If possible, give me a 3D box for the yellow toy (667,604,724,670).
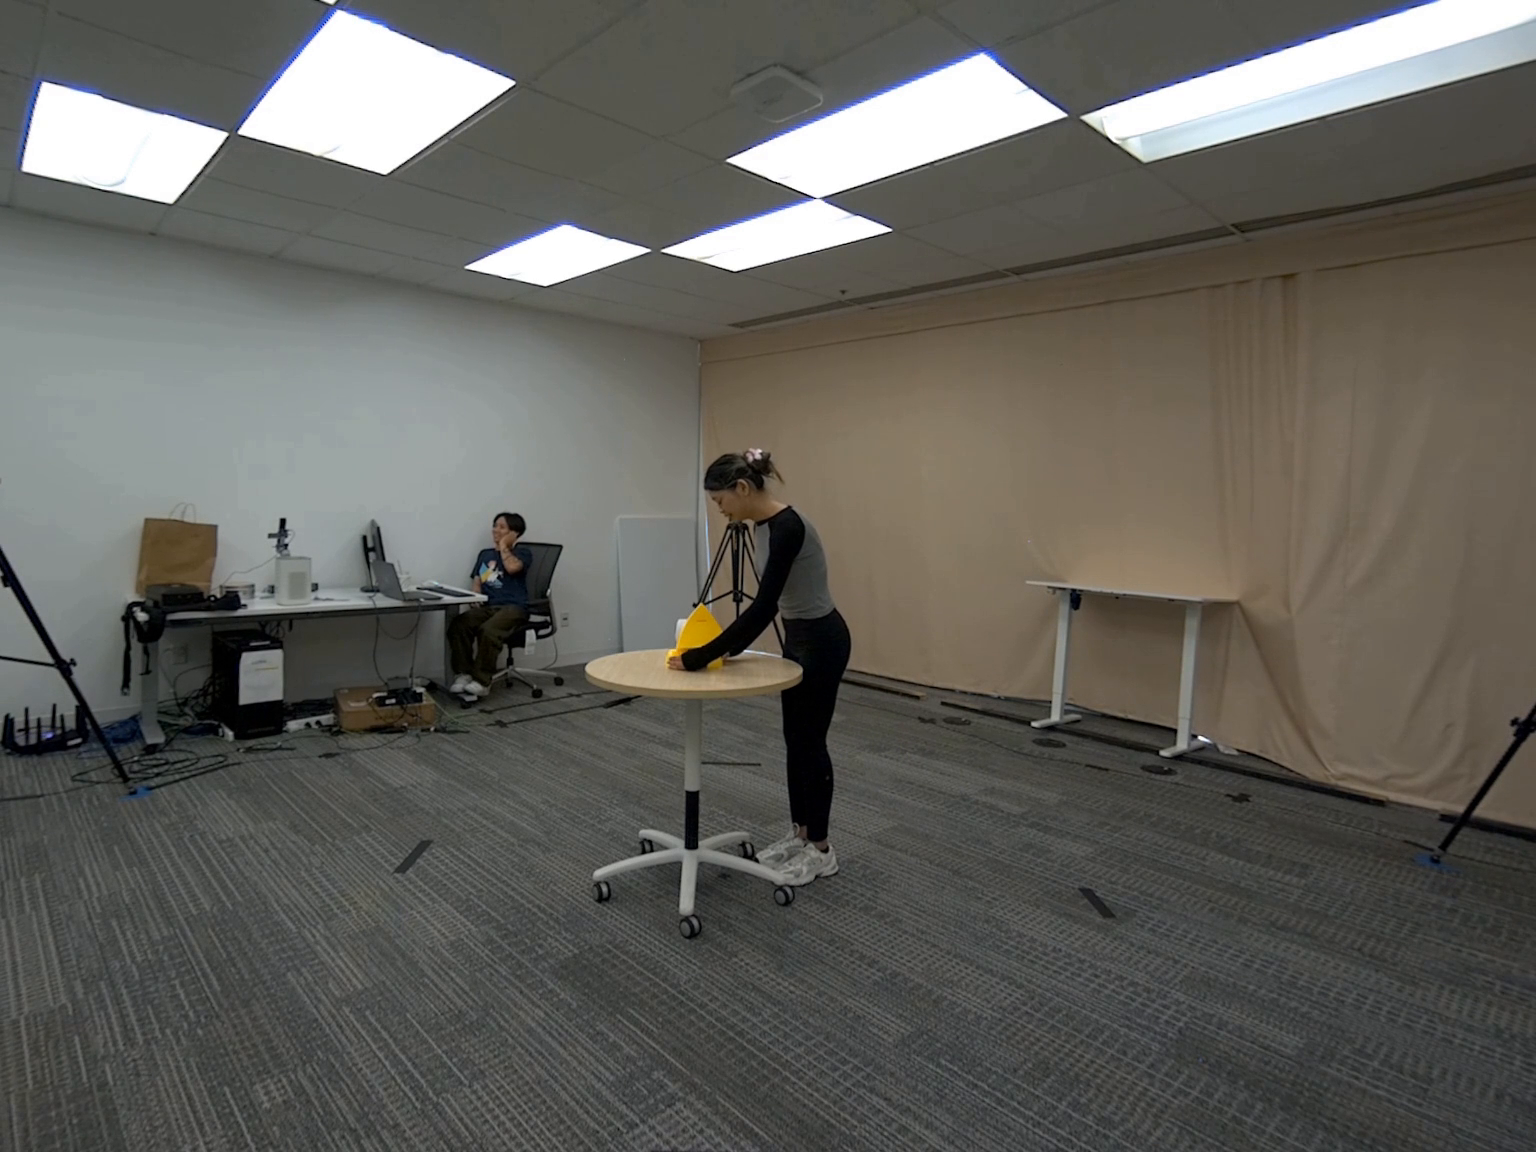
[{"bbox_3d":[-0.271,0.206,3.003,0.201,0.230,0.197,-1,4,-25],"label":"yellow toy"}]
